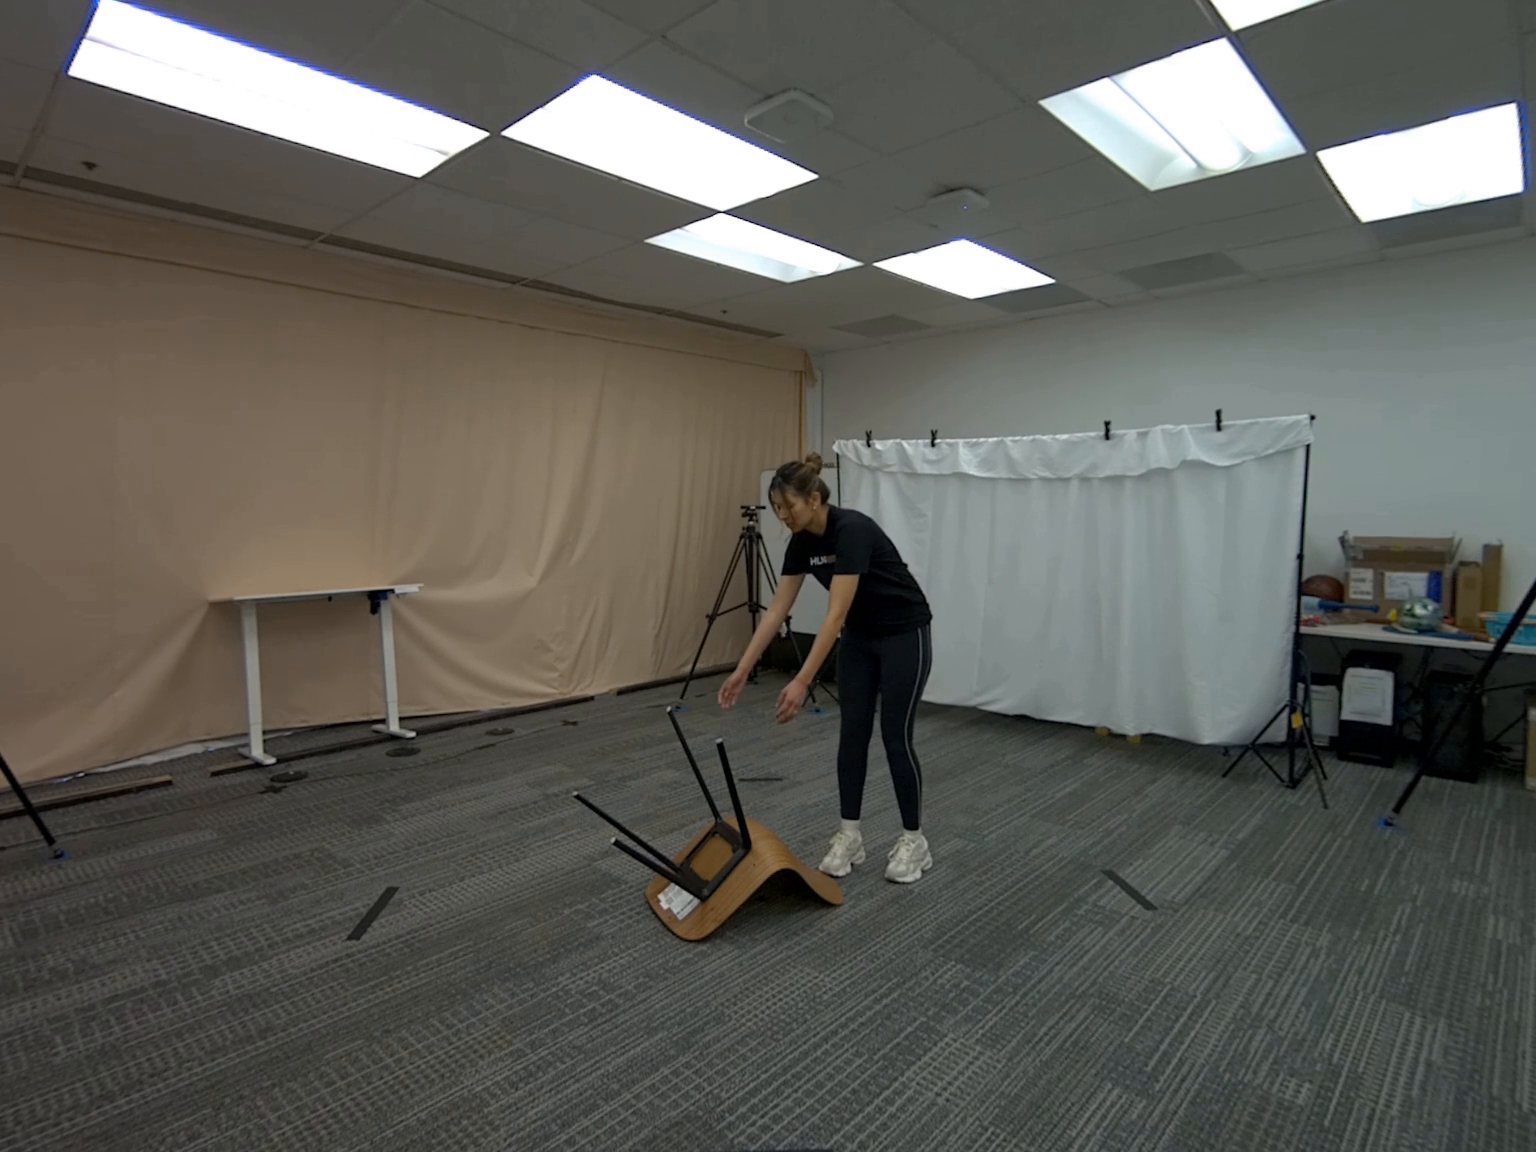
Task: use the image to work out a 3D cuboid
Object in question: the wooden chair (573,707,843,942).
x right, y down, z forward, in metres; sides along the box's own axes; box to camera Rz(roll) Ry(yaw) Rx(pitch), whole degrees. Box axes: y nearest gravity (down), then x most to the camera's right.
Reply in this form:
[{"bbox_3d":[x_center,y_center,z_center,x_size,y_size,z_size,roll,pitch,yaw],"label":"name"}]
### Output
[{"bbox_3d":[-0.197,0.979,2.915,0.520,0.859,0.491,-45,21,-17],"label":"wooden chair"}]
